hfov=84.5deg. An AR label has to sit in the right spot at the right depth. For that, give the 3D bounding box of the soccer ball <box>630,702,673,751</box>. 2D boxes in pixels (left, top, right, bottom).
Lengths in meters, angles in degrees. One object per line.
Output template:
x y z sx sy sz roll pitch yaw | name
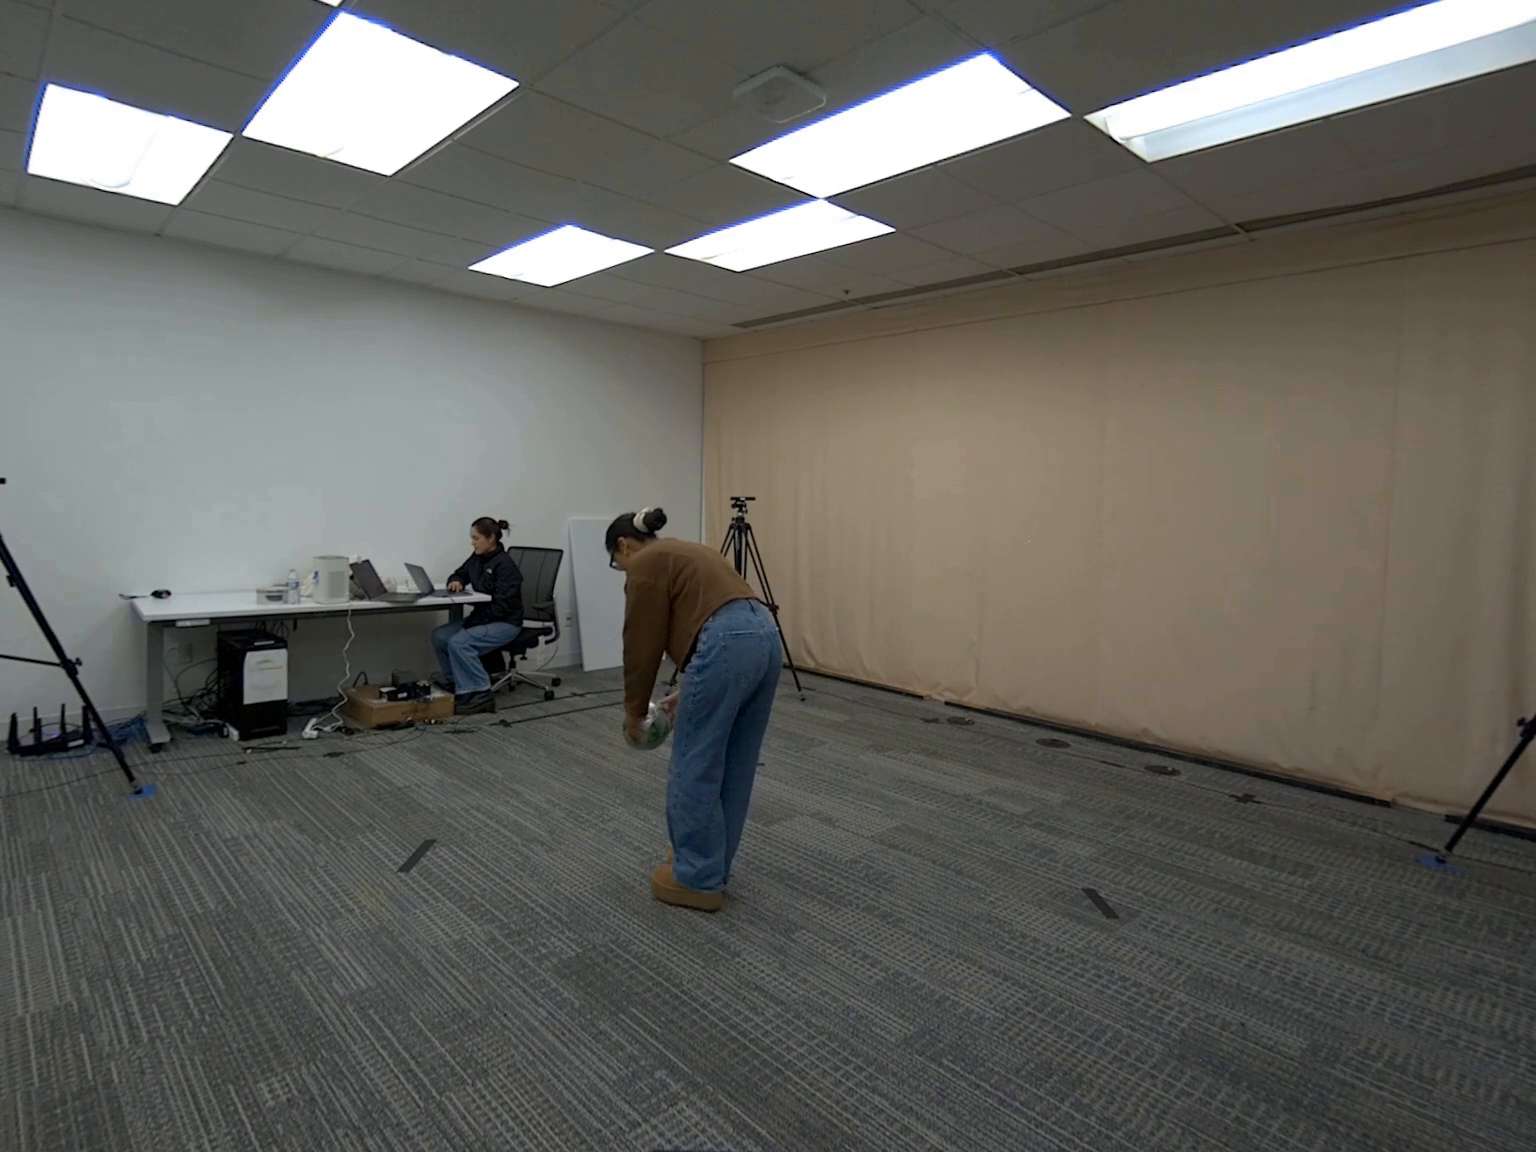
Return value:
-0.453 0.552 3.139 0.187 0.187 0.188 1 4 -1 | soccer ball
